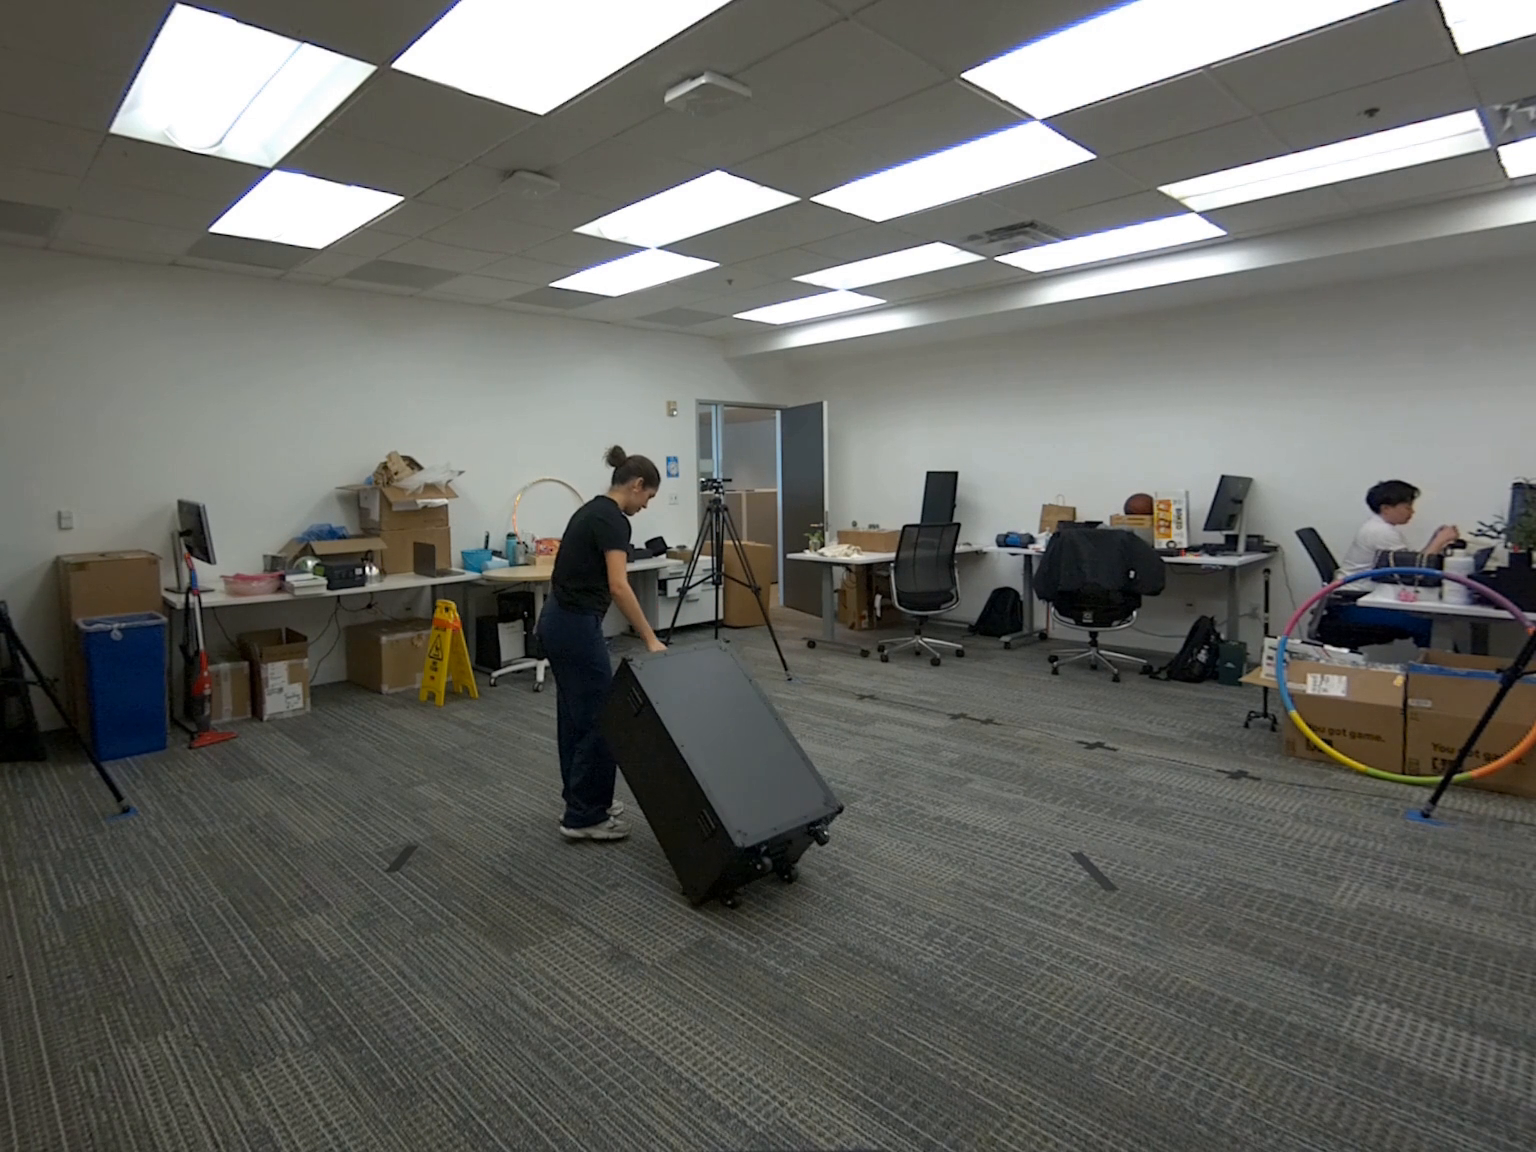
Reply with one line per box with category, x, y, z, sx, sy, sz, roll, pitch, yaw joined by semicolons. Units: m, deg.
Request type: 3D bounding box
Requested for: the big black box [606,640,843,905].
big black box;-0.176;0.676;3.031;0.507;0.393;0.891;-5;48;-42
